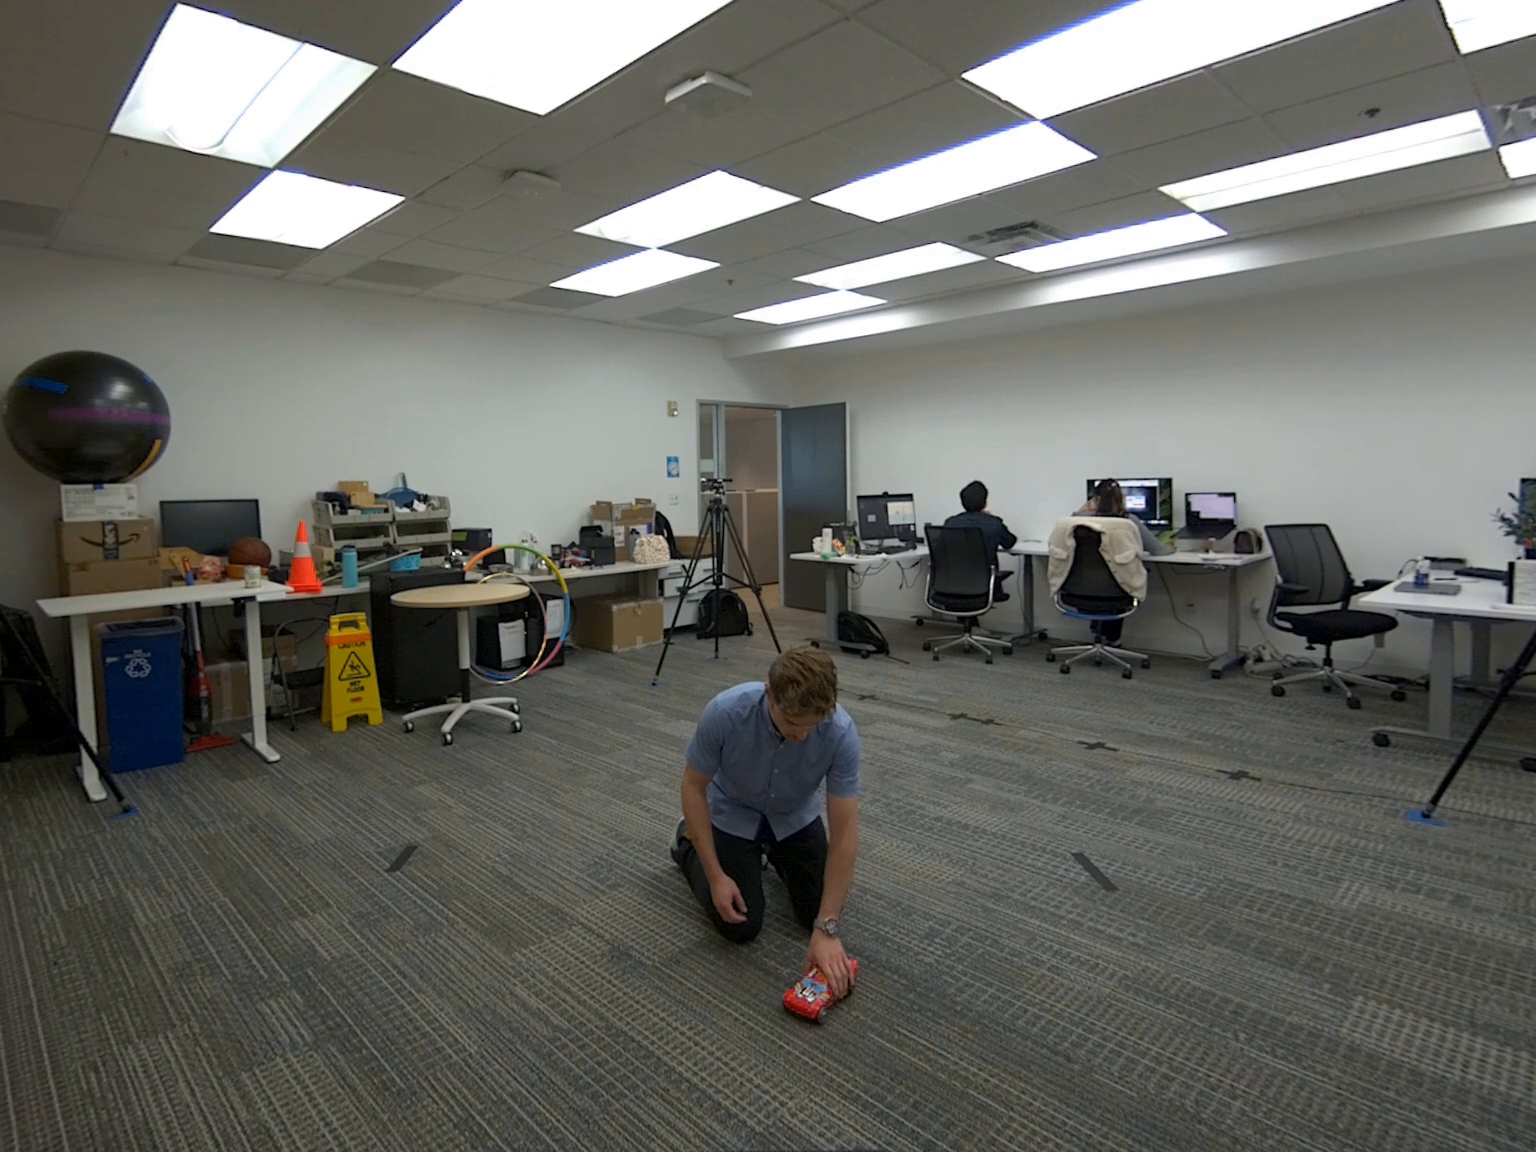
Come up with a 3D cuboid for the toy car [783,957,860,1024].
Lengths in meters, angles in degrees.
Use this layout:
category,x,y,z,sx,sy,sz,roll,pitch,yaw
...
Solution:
category,x,y,z,sx,sy,sz,roll,pitch,yaw
toy car,0.151,1.110,2.296,0.134,0.082,0.251,1,18,36
